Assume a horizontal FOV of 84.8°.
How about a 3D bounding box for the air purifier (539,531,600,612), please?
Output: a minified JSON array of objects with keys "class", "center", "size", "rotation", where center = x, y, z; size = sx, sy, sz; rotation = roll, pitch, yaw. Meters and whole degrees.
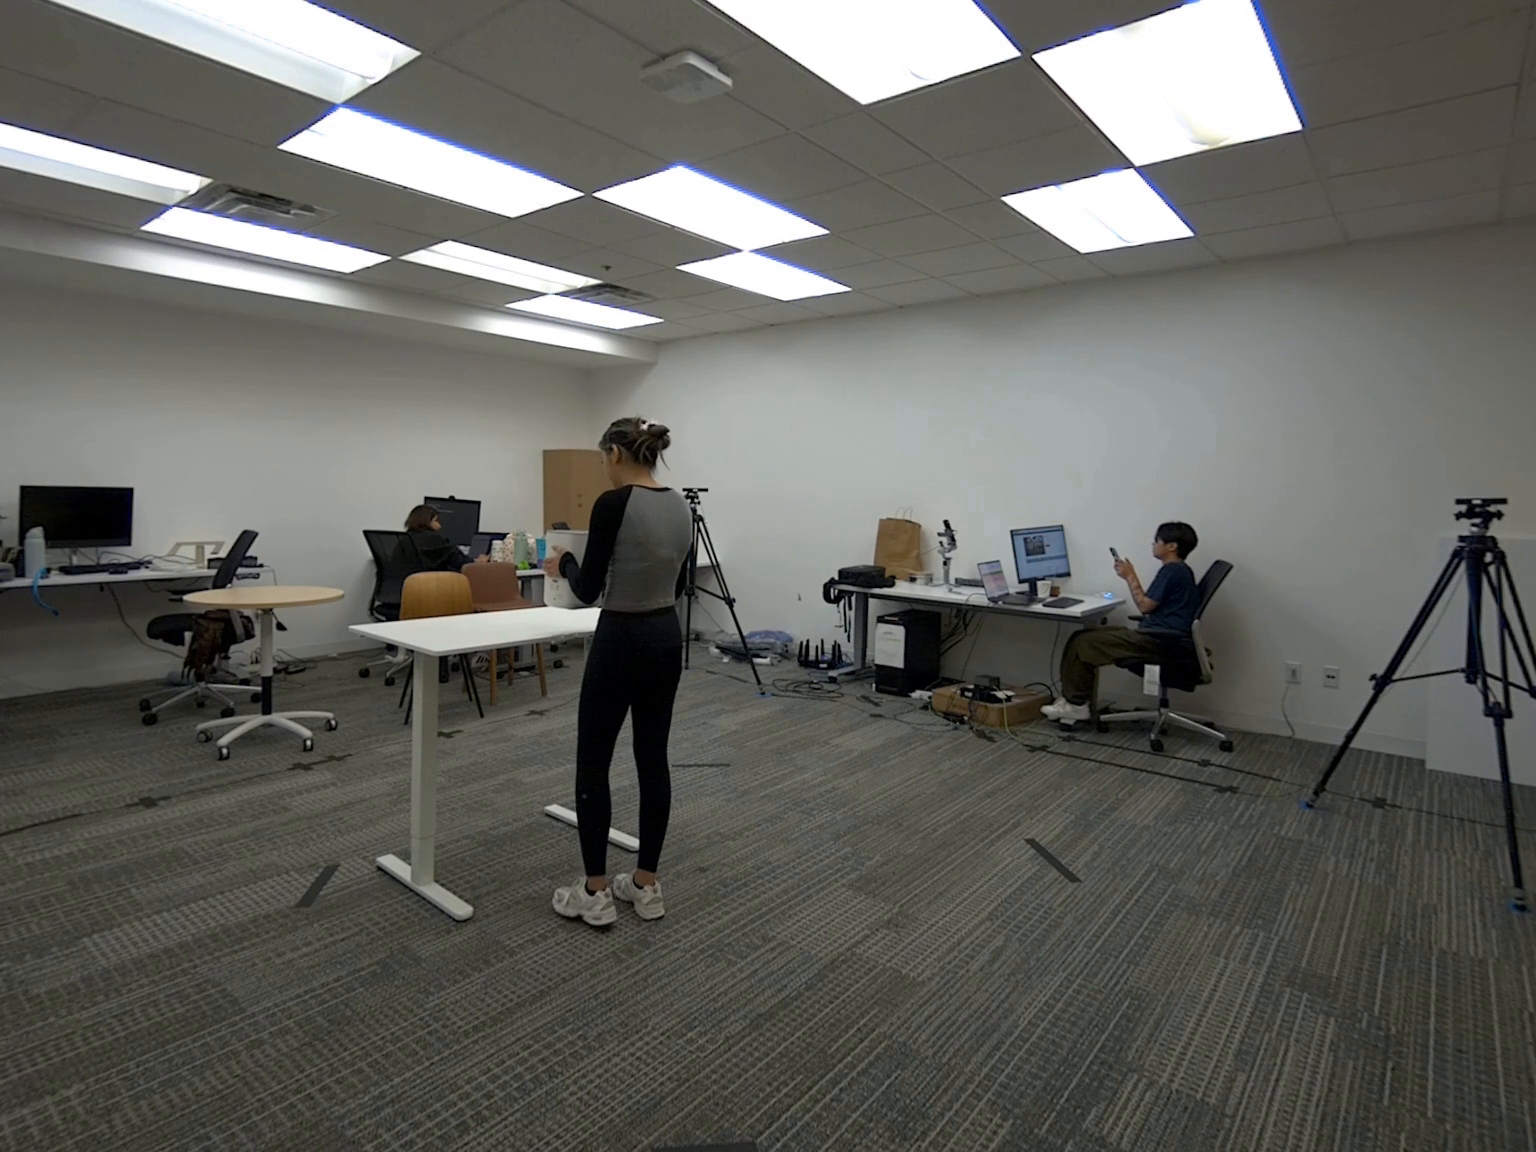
[{"class":"air purifier","center":[-0.682,-0.023,2.967],"size":[0.176,0.265,0.167],"rotation":[4,3,32]}]
